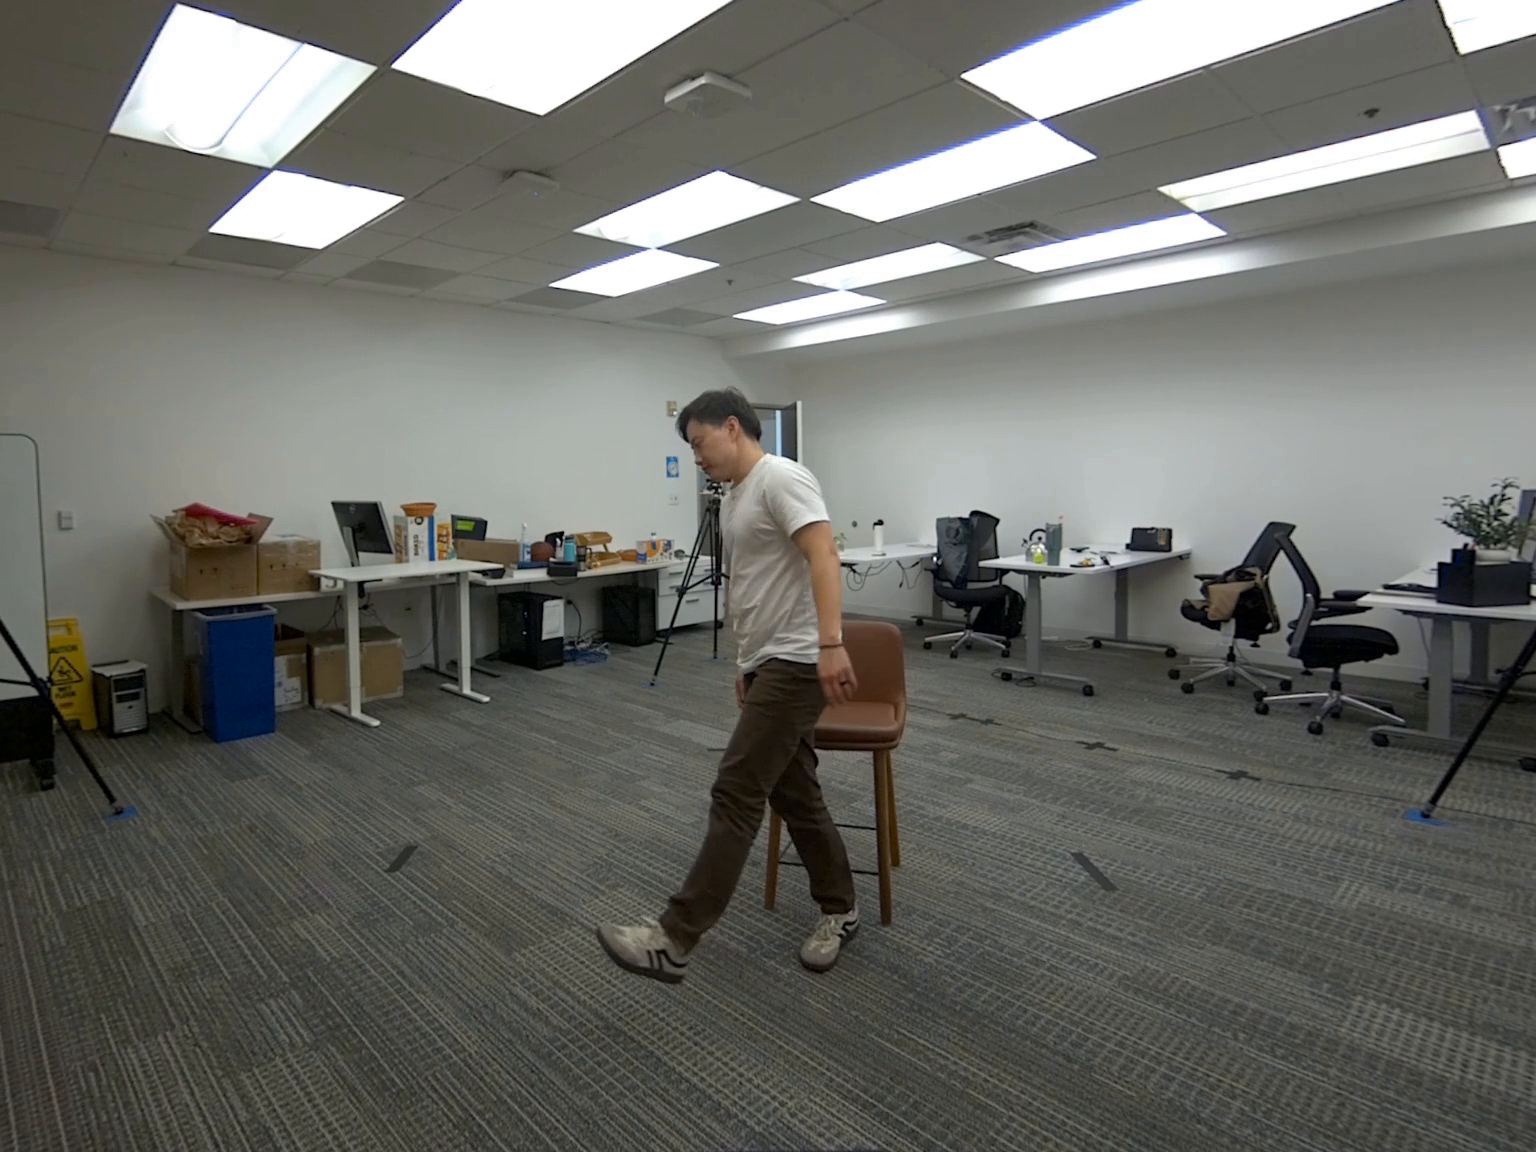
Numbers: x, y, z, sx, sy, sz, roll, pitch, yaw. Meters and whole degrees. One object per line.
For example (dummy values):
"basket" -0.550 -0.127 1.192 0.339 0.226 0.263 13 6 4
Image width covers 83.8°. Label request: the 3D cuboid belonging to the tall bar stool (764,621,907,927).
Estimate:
"tall bar stool" 0.241 0.629 2.904 0.465 0.887 0.460 1 3 18
